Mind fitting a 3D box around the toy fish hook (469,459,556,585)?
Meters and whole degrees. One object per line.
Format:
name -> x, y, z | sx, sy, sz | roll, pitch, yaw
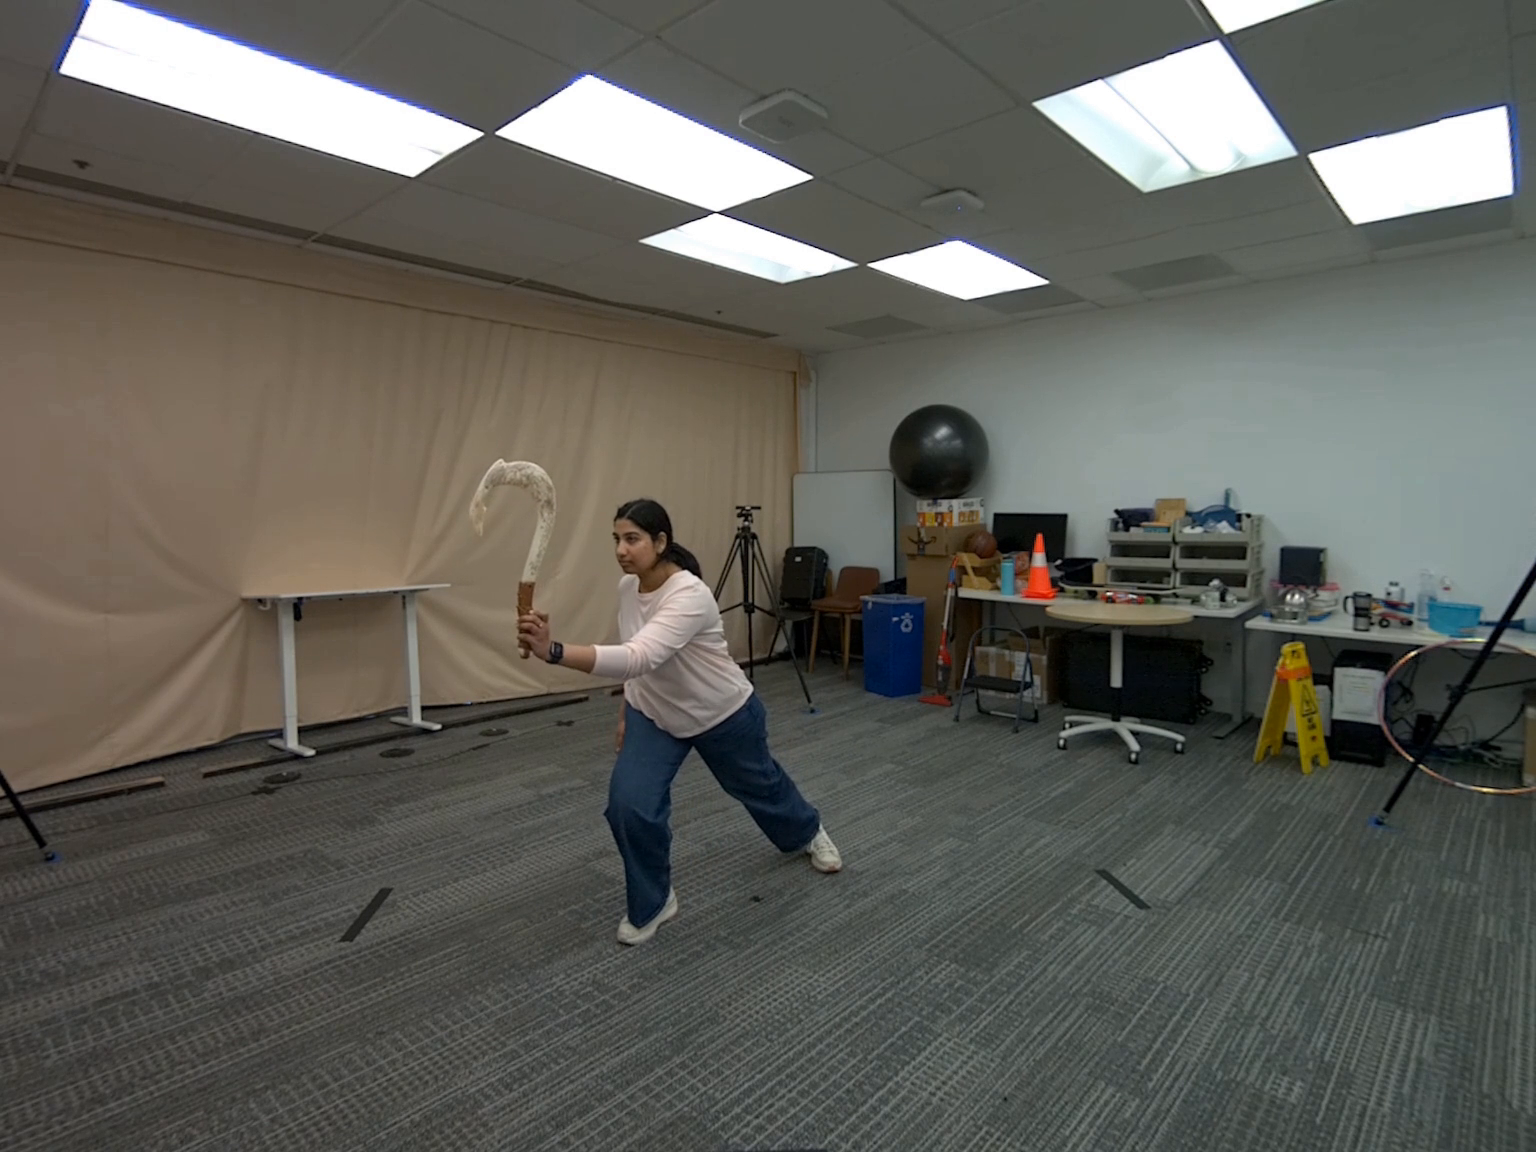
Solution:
toy fish hook -> -0.650, -0.035, 2.148 | 0.218, 0.506, 0.049 | 1, 1, -29
